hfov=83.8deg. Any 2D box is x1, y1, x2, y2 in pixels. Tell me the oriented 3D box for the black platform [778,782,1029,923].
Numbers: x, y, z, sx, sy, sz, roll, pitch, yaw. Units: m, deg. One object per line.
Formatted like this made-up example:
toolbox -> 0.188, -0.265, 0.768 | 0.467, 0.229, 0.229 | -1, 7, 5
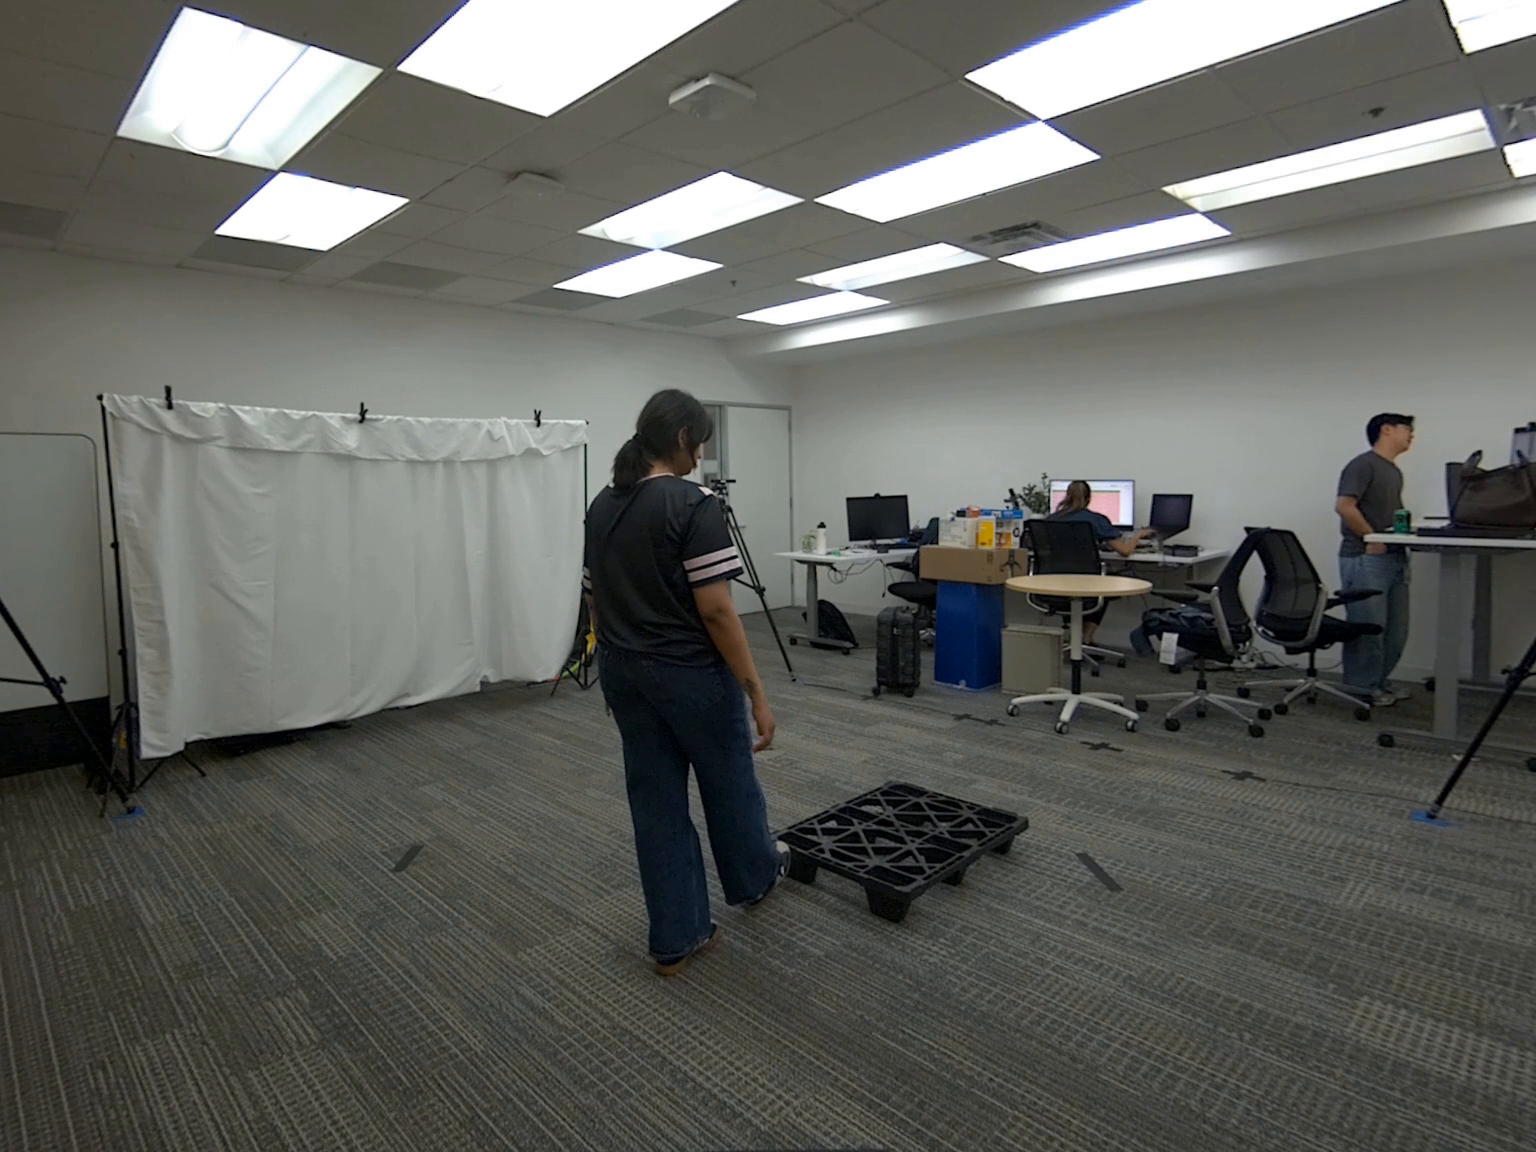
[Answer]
black platform -> 0.473, 0.972, 3.087 | 0.624, 0.143, 0.784 | 4, 8, 43
